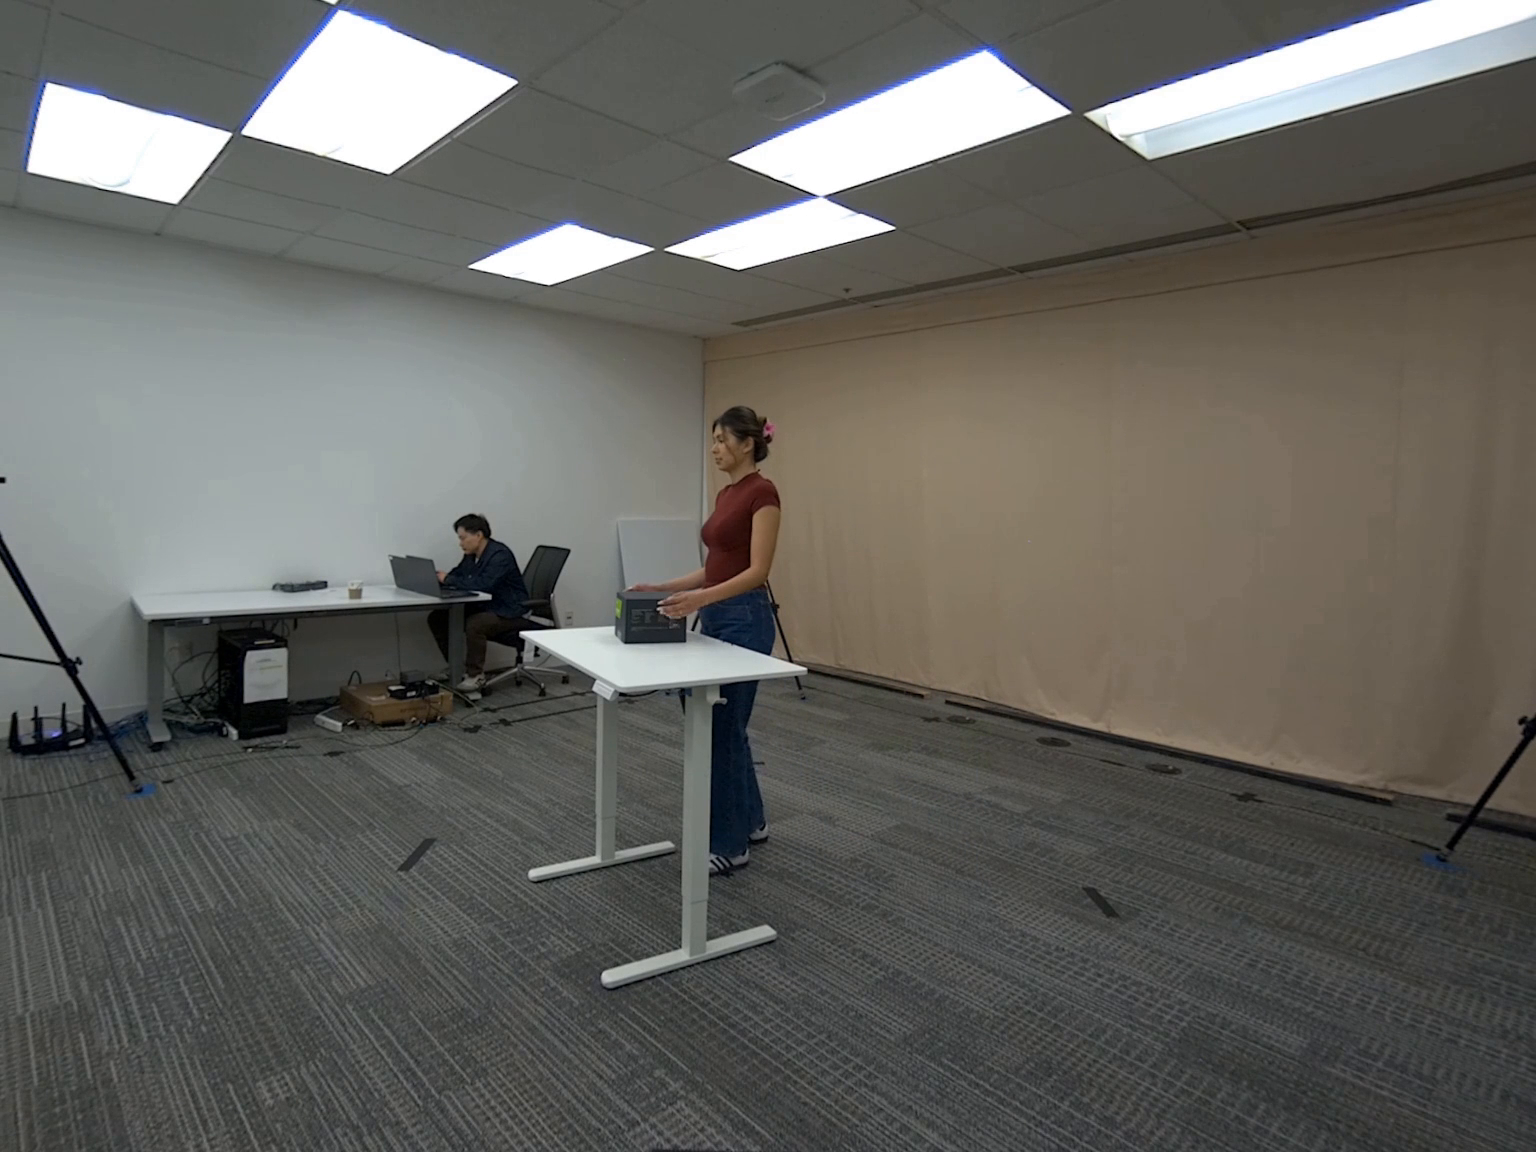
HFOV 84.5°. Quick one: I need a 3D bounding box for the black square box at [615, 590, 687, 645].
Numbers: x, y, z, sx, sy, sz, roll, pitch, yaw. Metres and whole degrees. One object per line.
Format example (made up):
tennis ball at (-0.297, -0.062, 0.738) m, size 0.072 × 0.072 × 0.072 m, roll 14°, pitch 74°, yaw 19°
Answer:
black square box at (-0.429, 0.147, 3.003) m, size 0.214 × 0.155 × 0.231 m, roll 0°, pitch 4°, yaw -16°
